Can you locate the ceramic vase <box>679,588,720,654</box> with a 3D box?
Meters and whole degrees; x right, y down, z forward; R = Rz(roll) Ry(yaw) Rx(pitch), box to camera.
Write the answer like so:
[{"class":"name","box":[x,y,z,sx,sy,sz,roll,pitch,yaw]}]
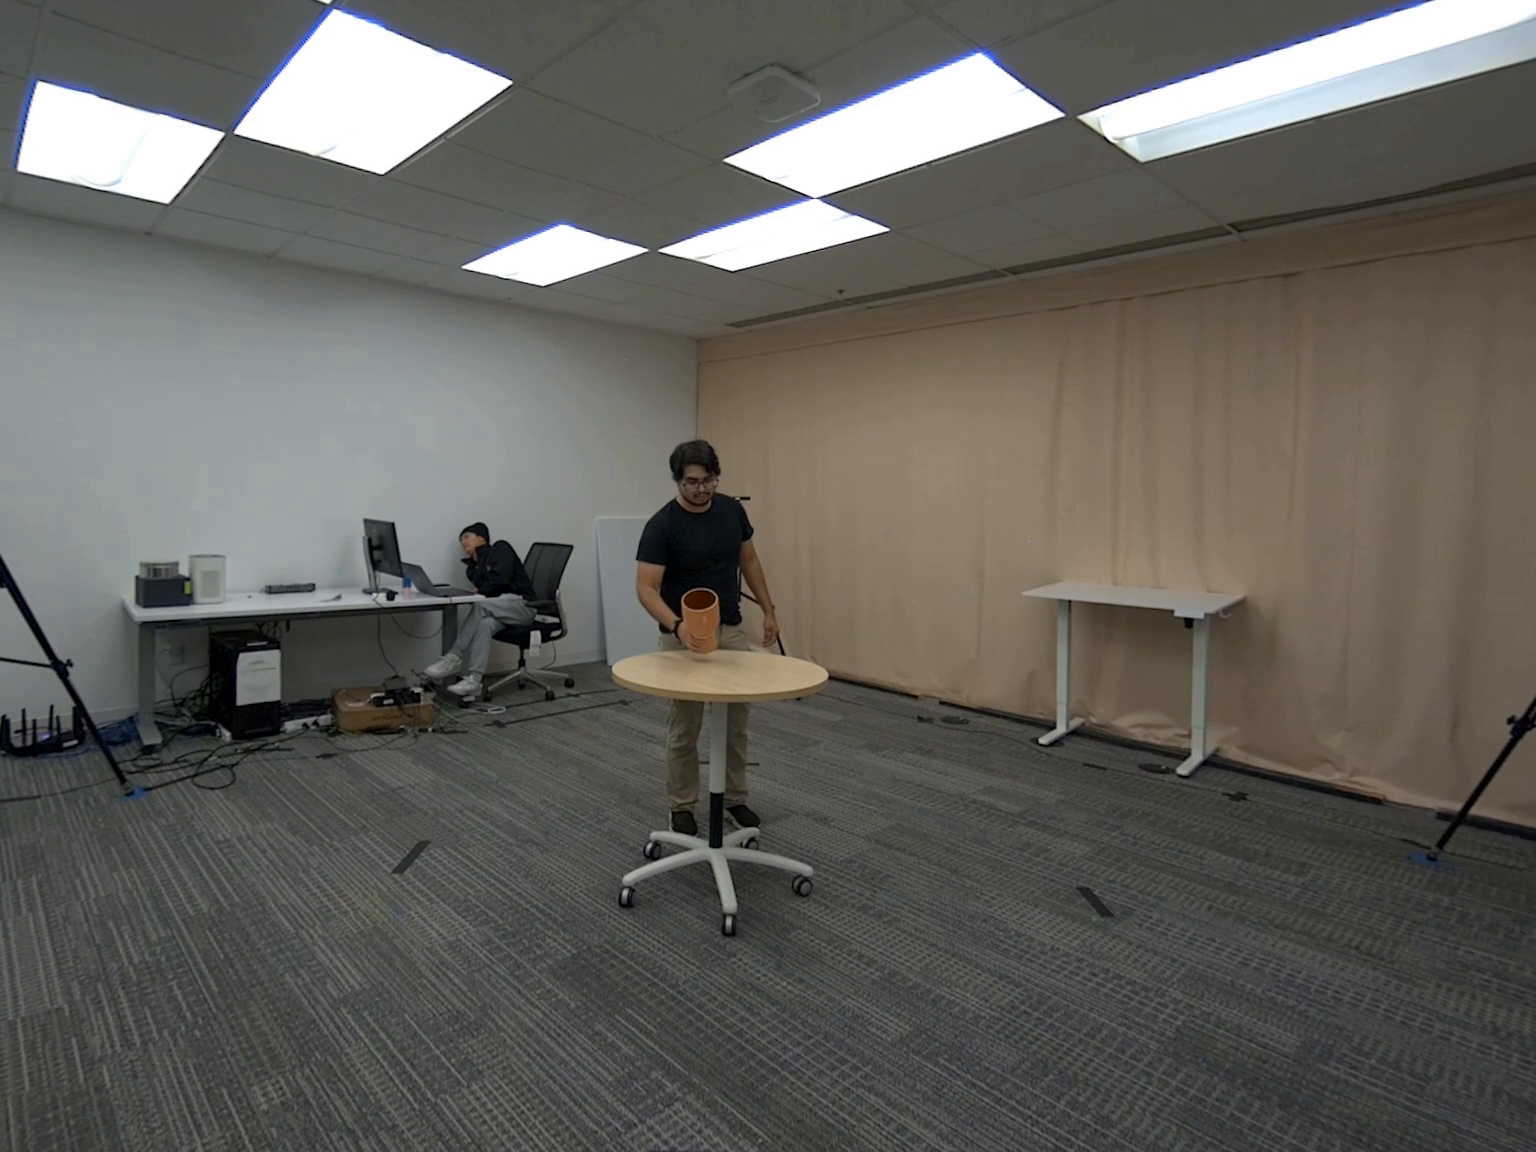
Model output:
[{"class":"ceramic vase","box":[-0.252,0.164,3.069,0.137,0.215,0.159,13,39,20]}]
